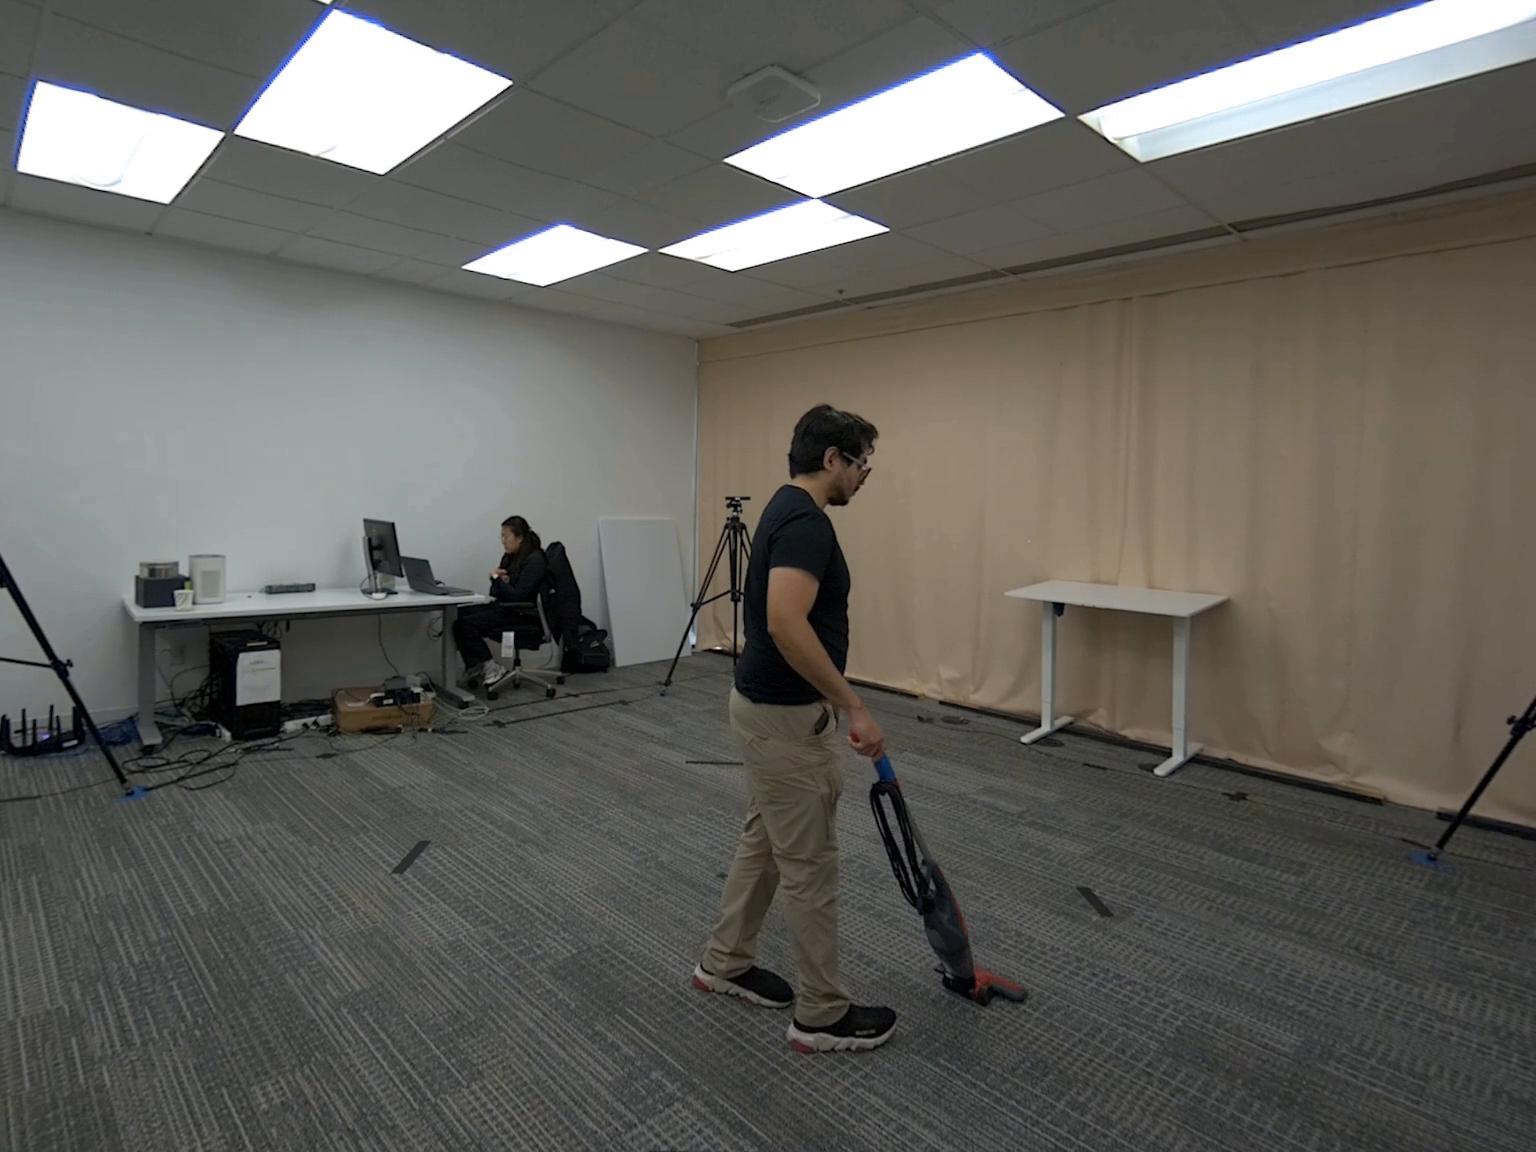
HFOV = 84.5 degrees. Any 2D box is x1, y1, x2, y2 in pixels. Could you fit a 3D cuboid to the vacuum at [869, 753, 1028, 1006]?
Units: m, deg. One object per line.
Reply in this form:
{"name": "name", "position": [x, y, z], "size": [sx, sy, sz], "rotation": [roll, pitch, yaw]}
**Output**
{"name": "vacuum", "position": [0.401, 0.778, 2.183], "size": [0.259, 1.023, 0.144], "rotation": [7, 43, 44]}
